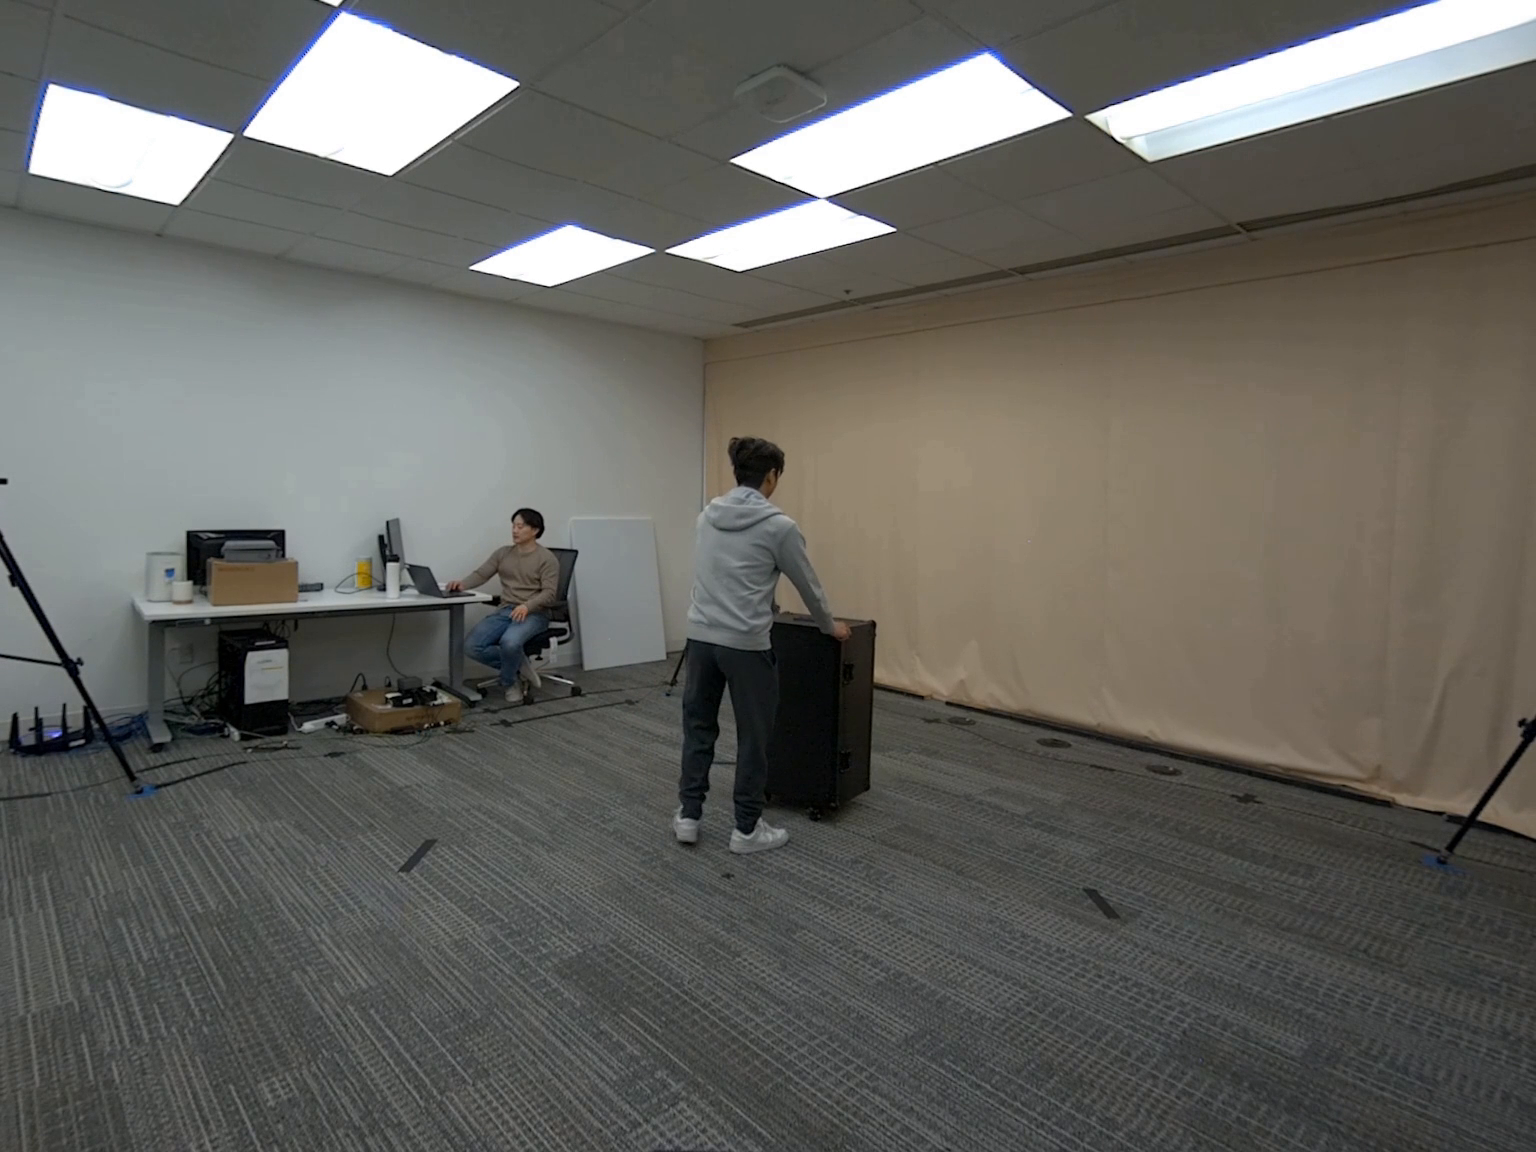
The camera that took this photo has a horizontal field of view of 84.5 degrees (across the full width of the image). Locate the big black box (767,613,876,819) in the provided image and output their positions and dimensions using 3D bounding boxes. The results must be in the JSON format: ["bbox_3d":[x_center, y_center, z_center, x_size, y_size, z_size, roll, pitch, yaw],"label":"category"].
[{"bbox_3d":[0.184,0.622,3.876,0.533,0.860,0.388,4,3,34],"label":"big black box"}]
